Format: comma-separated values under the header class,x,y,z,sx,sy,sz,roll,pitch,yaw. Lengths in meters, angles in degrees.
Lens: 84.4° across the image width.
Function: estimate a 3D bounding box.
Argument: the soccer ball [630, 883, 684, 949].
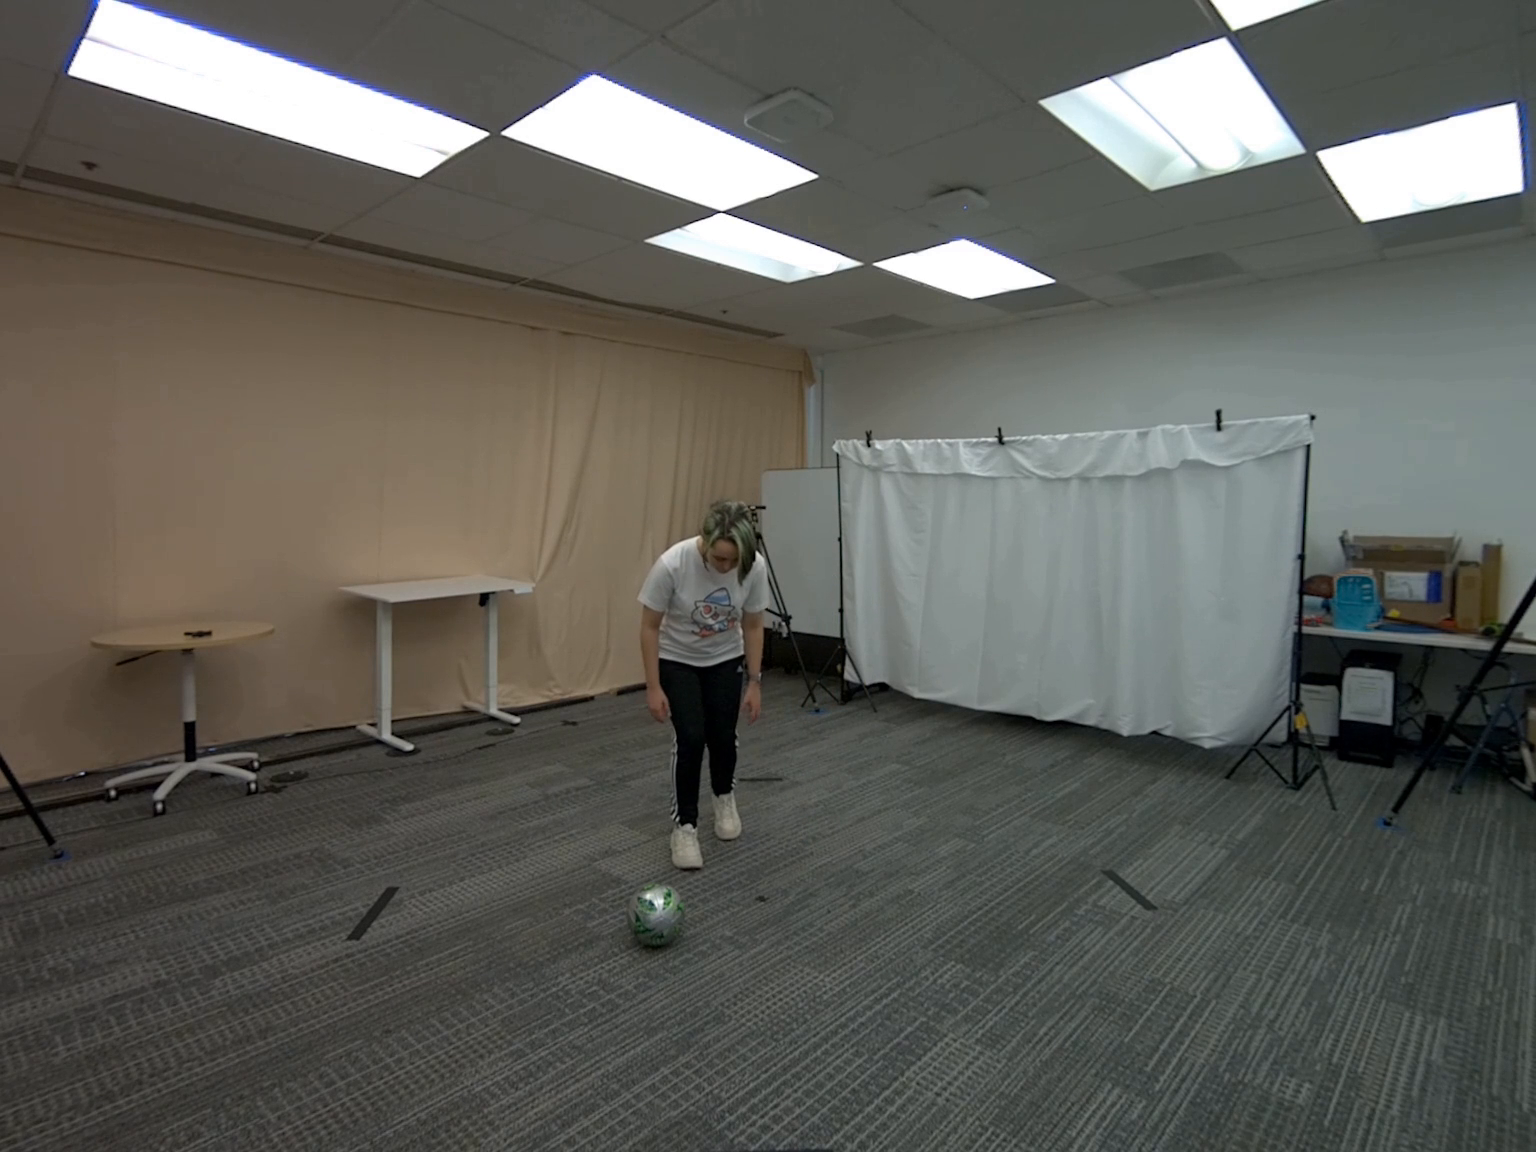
class,x,y,z,sx,sy,sz,roll,pitch,yaw
soccer ball,-0.356,1.070,2.688,0.187,0.187,0.188,0,4,-2
